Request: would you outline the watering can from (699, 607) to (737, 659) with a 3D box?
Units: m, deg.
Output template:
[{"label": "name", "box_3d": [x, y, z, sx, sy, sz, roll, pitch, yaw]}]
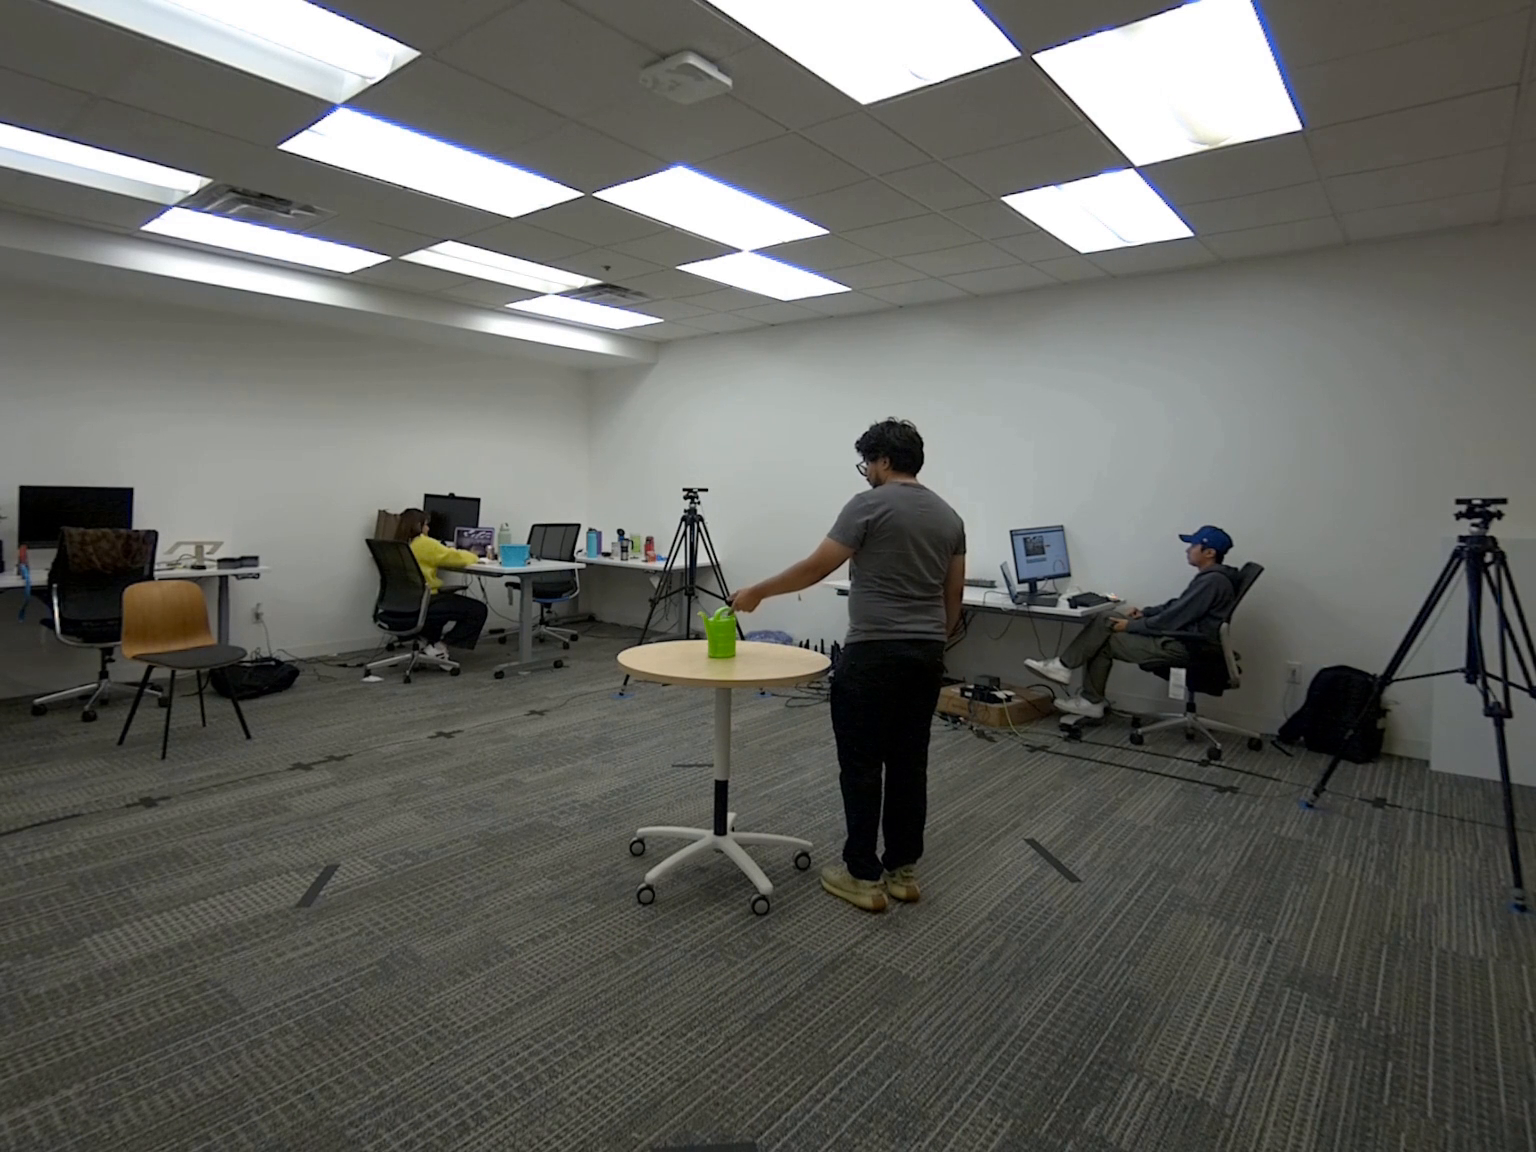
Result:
[{"label": "watering can", "box_3d": [-0.196, 0.203, 3.068, 0.101, 0.176, 0.270, 2, 3, 33]}]
